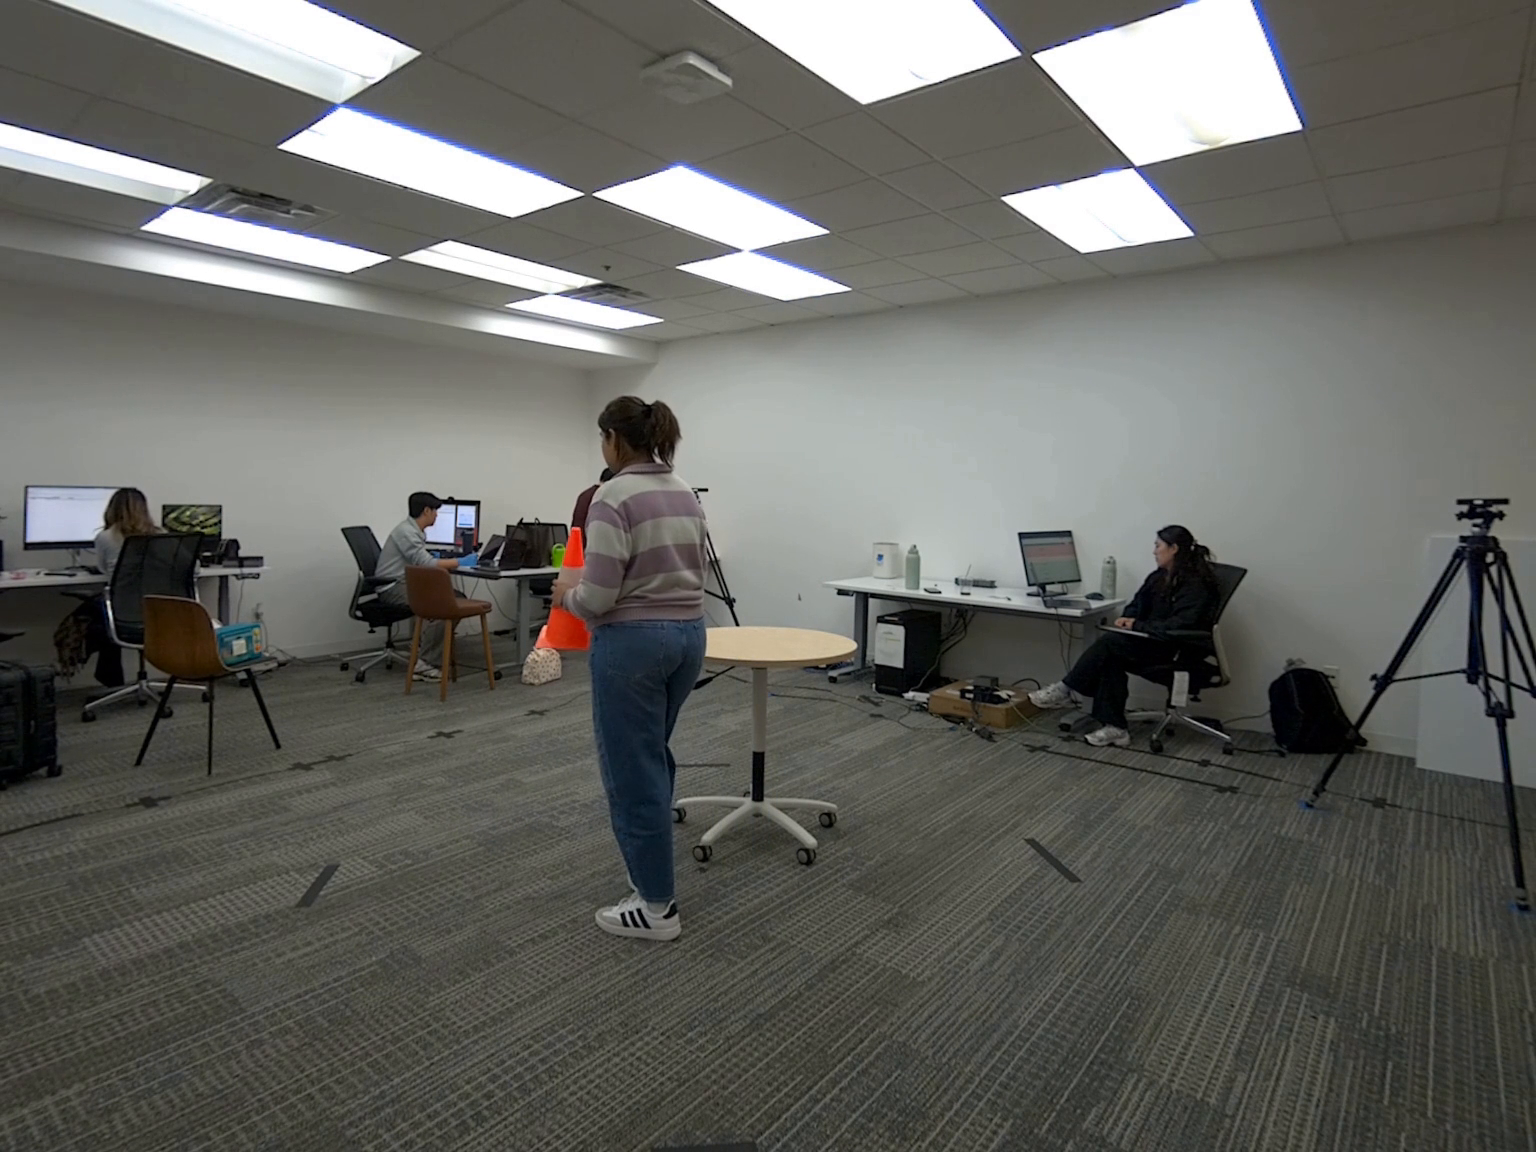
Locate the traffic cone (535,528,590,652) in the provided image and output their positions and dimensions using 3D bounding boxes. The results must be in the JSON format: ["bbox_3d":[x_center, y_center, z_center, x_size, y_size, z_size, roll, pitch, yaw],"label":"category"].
[{"bbox_3d":[-0.656,0.025,2.807,0.201,0.379,0.209,5,15,-16],"label":"traffic cone"}]
